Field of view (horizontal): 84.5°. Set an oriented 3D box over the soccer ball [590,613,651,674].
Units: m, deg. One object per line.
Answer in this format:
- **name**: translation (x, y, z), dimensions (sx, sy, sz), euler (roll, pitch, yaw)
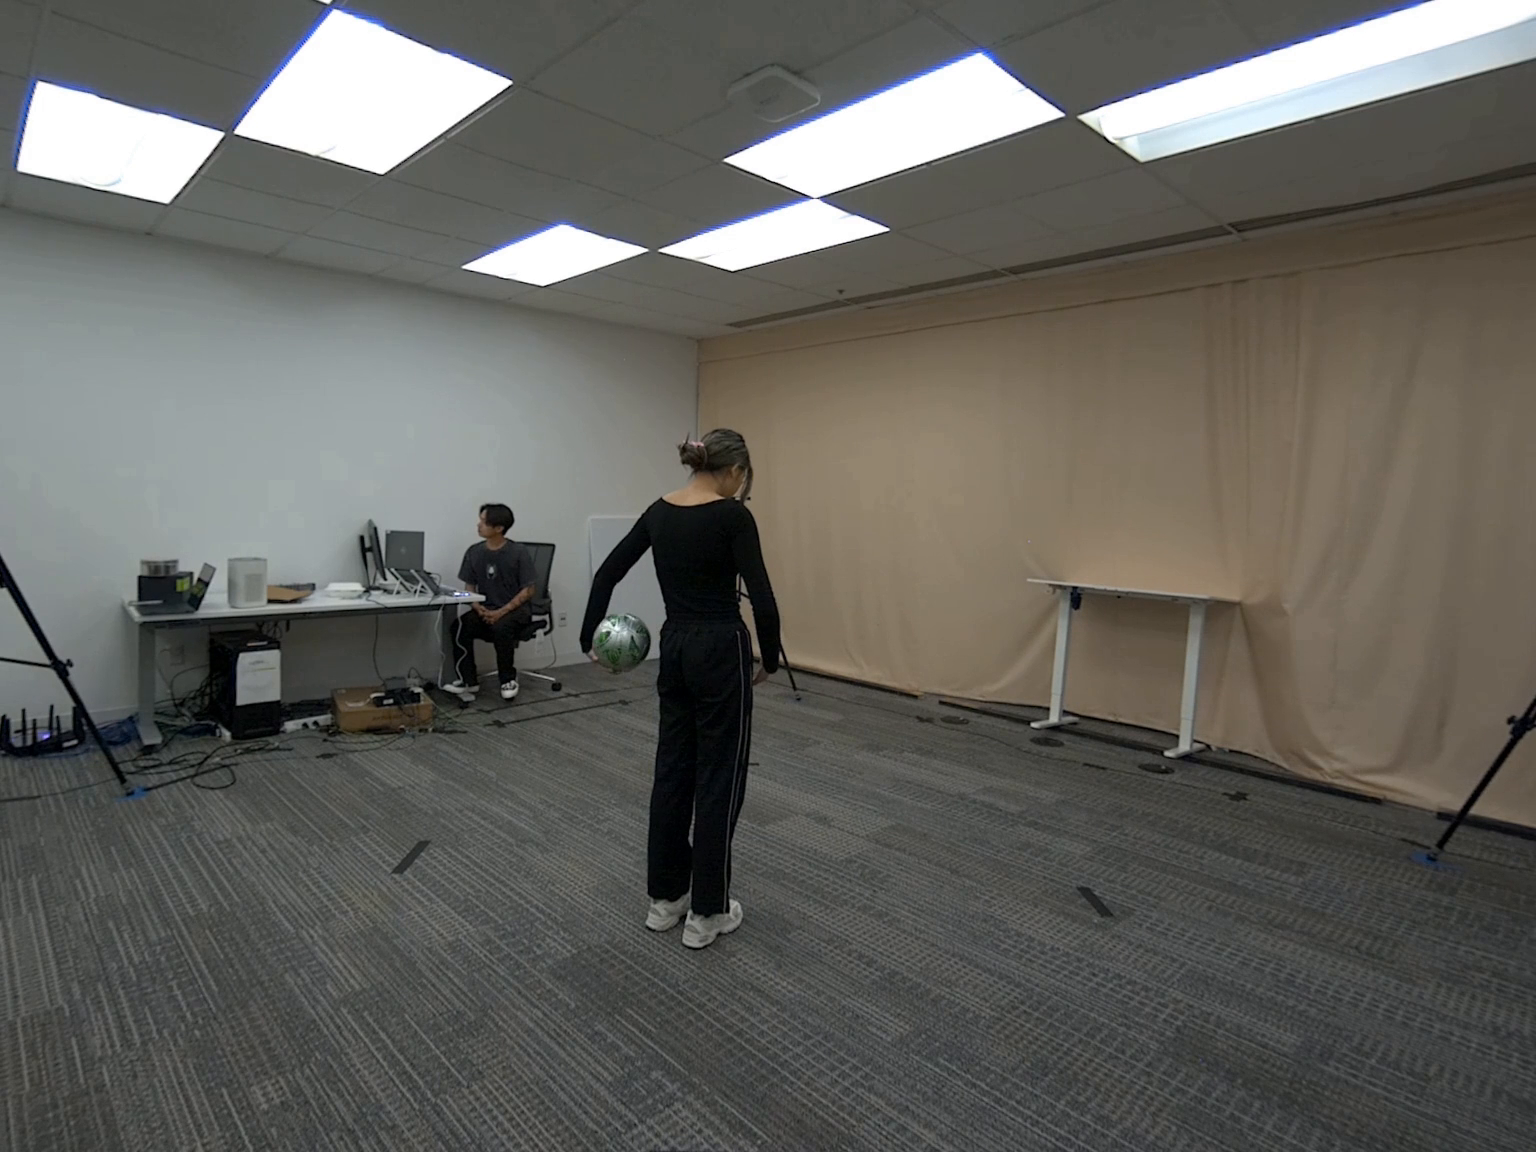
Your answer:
- **soccer ball**: translation (-0.470, 0.208, 2.711), dimensions (0.187, 0.187, 0.188), euler (1, 4, -1)
